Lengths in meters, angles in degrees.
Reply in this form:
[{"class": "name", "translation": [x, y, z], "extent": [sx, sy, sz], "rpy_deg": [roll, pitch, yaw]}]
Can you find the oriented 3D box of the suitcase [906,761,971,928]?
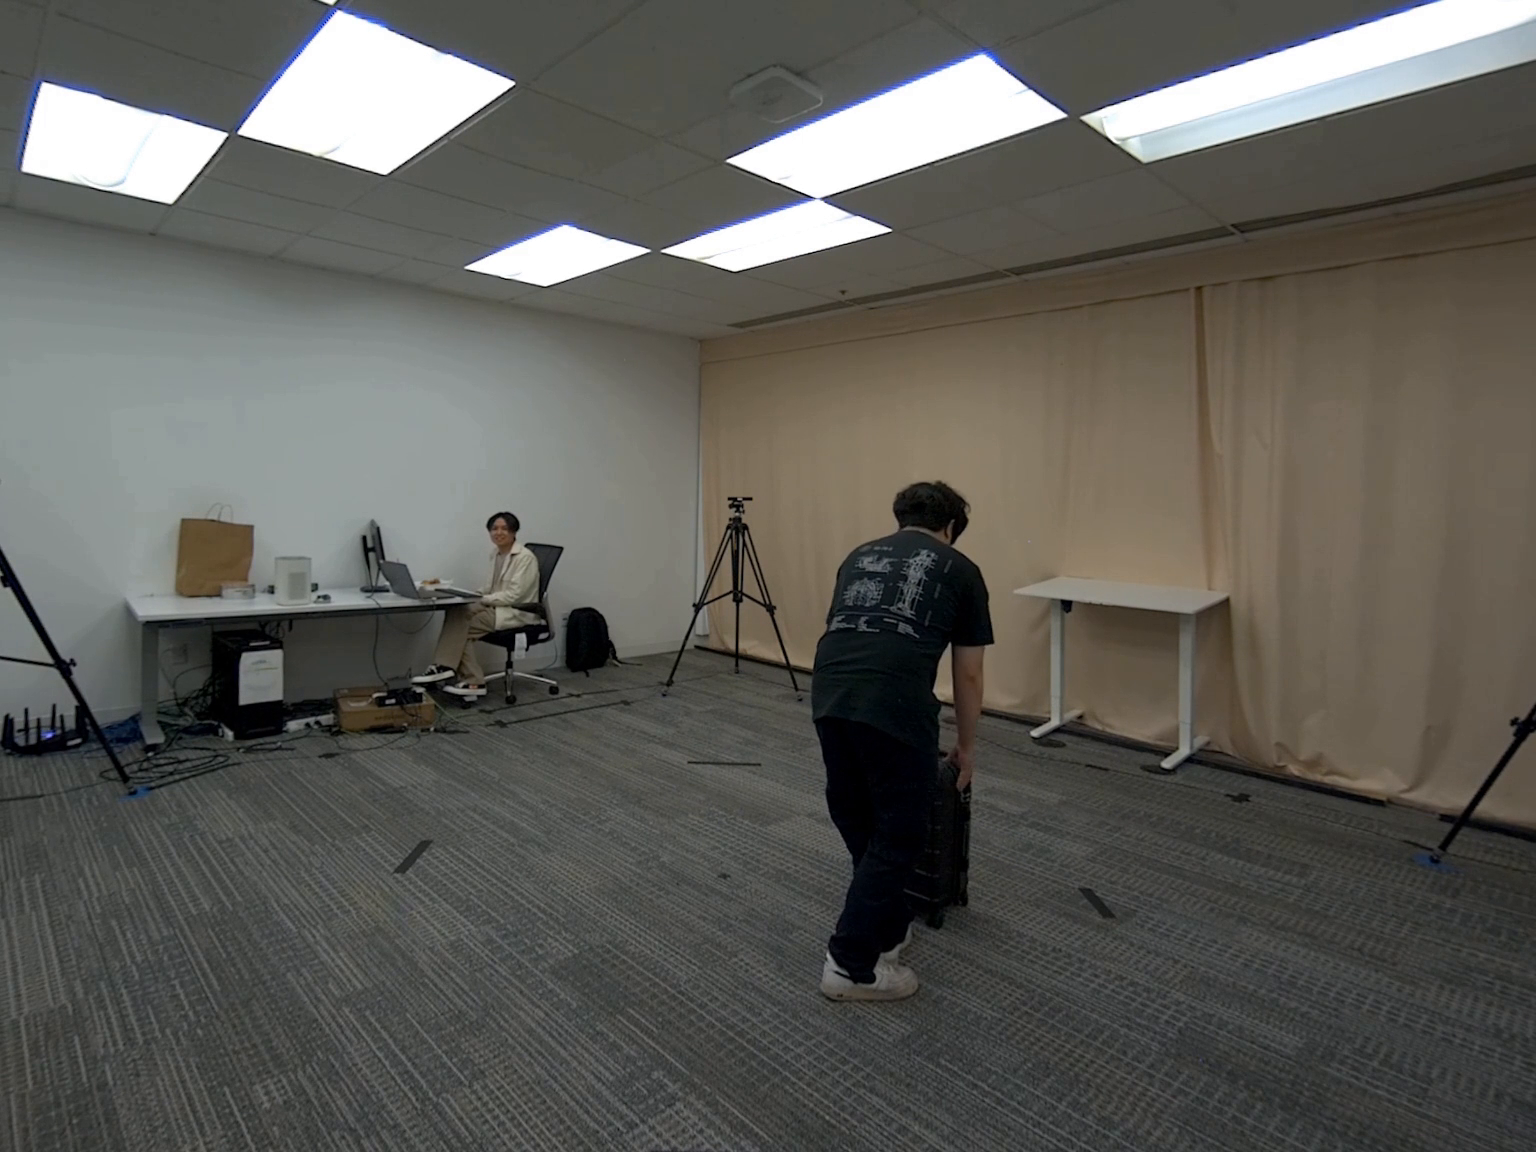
[{"class": "suitcase", "translation": [0.501, 0.868, 2.910], "extent": [0.385, 0.547, 0.243], "rpy_deg": [6, 6, 41]}]
